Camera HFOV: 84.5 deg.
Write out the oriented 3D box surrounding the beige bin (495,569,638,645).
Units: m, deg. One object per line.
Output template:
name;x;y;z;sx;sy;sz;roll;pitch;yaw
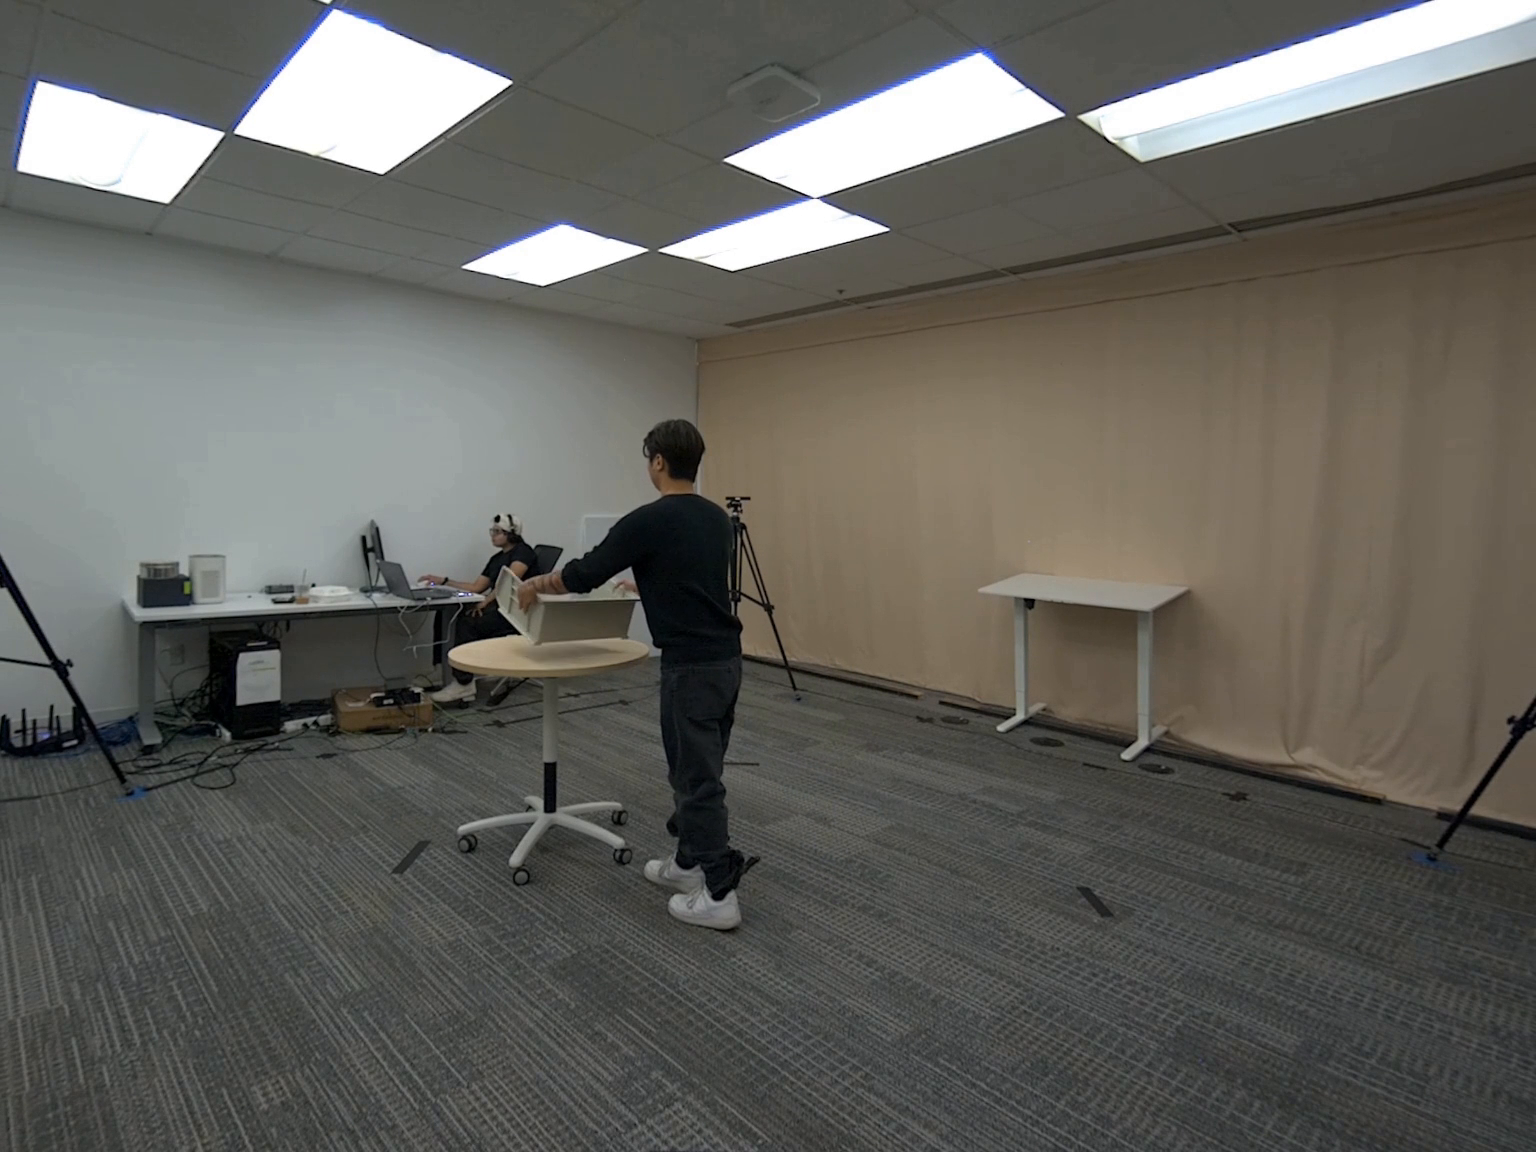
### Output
beige bin;-0.784;0.103;3.247;0.412;0.187;0.389;0;22;-42
